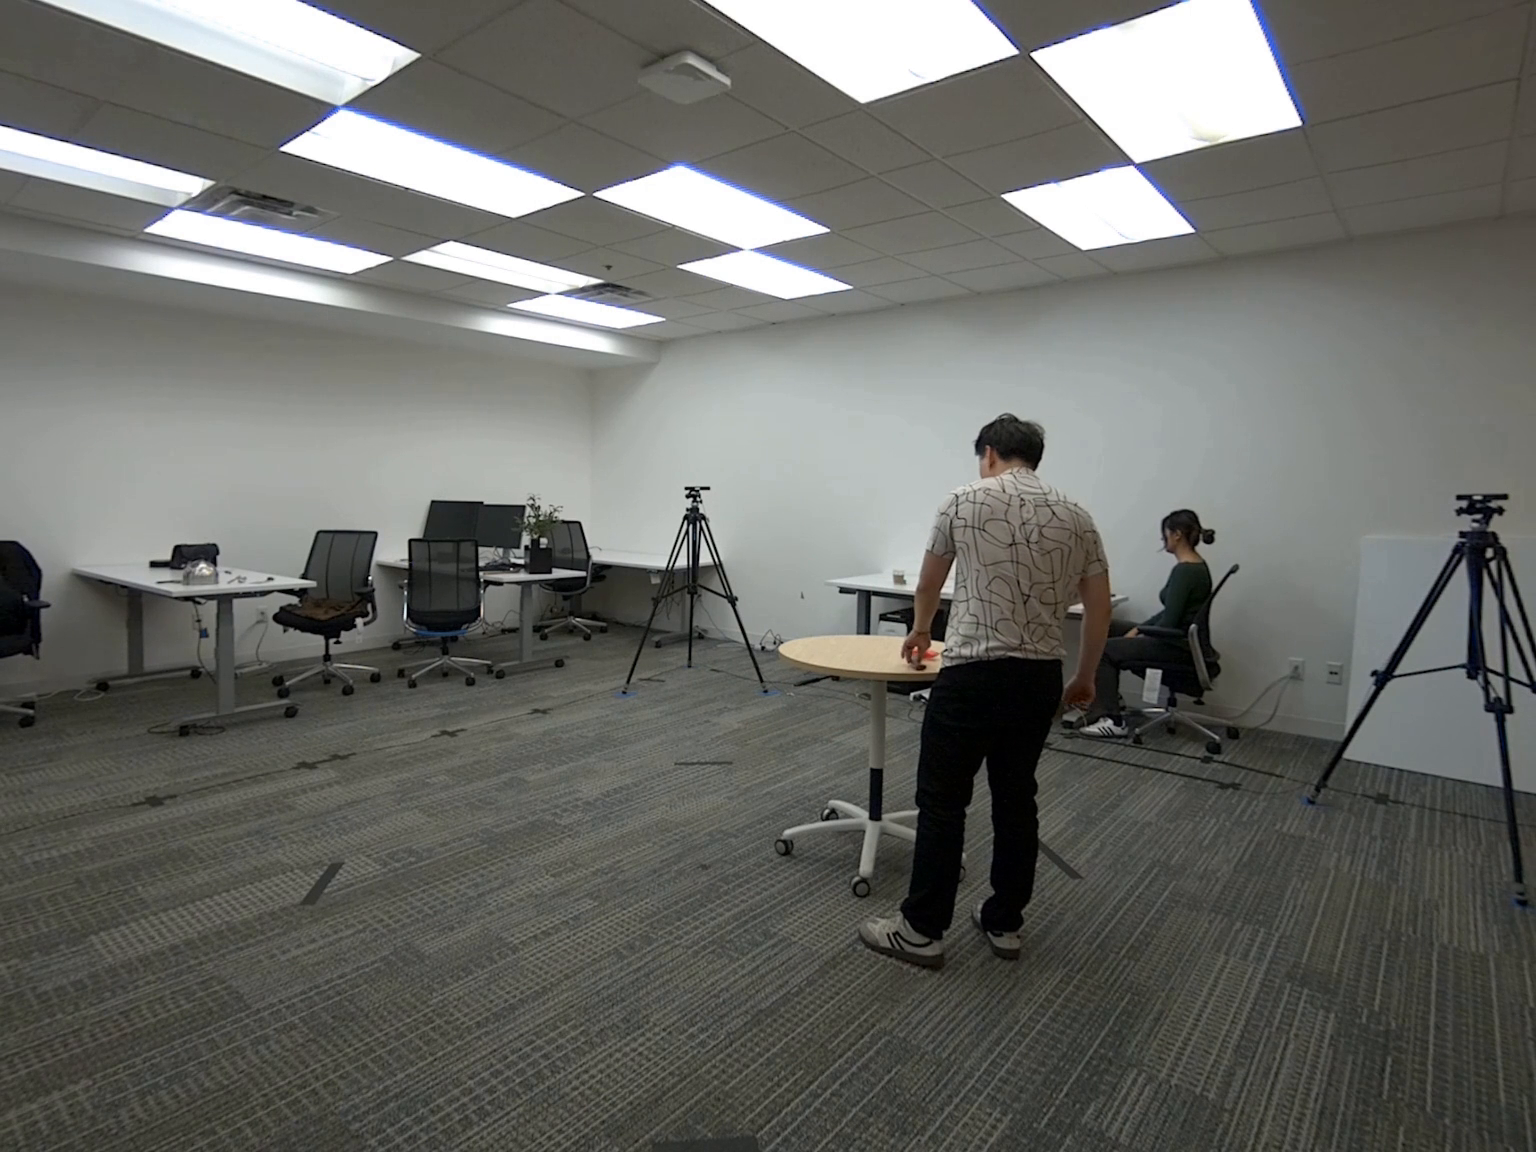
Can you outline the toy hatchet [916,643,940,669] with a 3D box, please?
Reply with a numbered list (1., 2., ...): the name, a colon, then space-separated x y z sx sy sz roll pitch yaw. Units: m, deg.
1. toy hatchet: 0.547 0.290 2.999 0.131 0.029 0.271 -4 6 1
